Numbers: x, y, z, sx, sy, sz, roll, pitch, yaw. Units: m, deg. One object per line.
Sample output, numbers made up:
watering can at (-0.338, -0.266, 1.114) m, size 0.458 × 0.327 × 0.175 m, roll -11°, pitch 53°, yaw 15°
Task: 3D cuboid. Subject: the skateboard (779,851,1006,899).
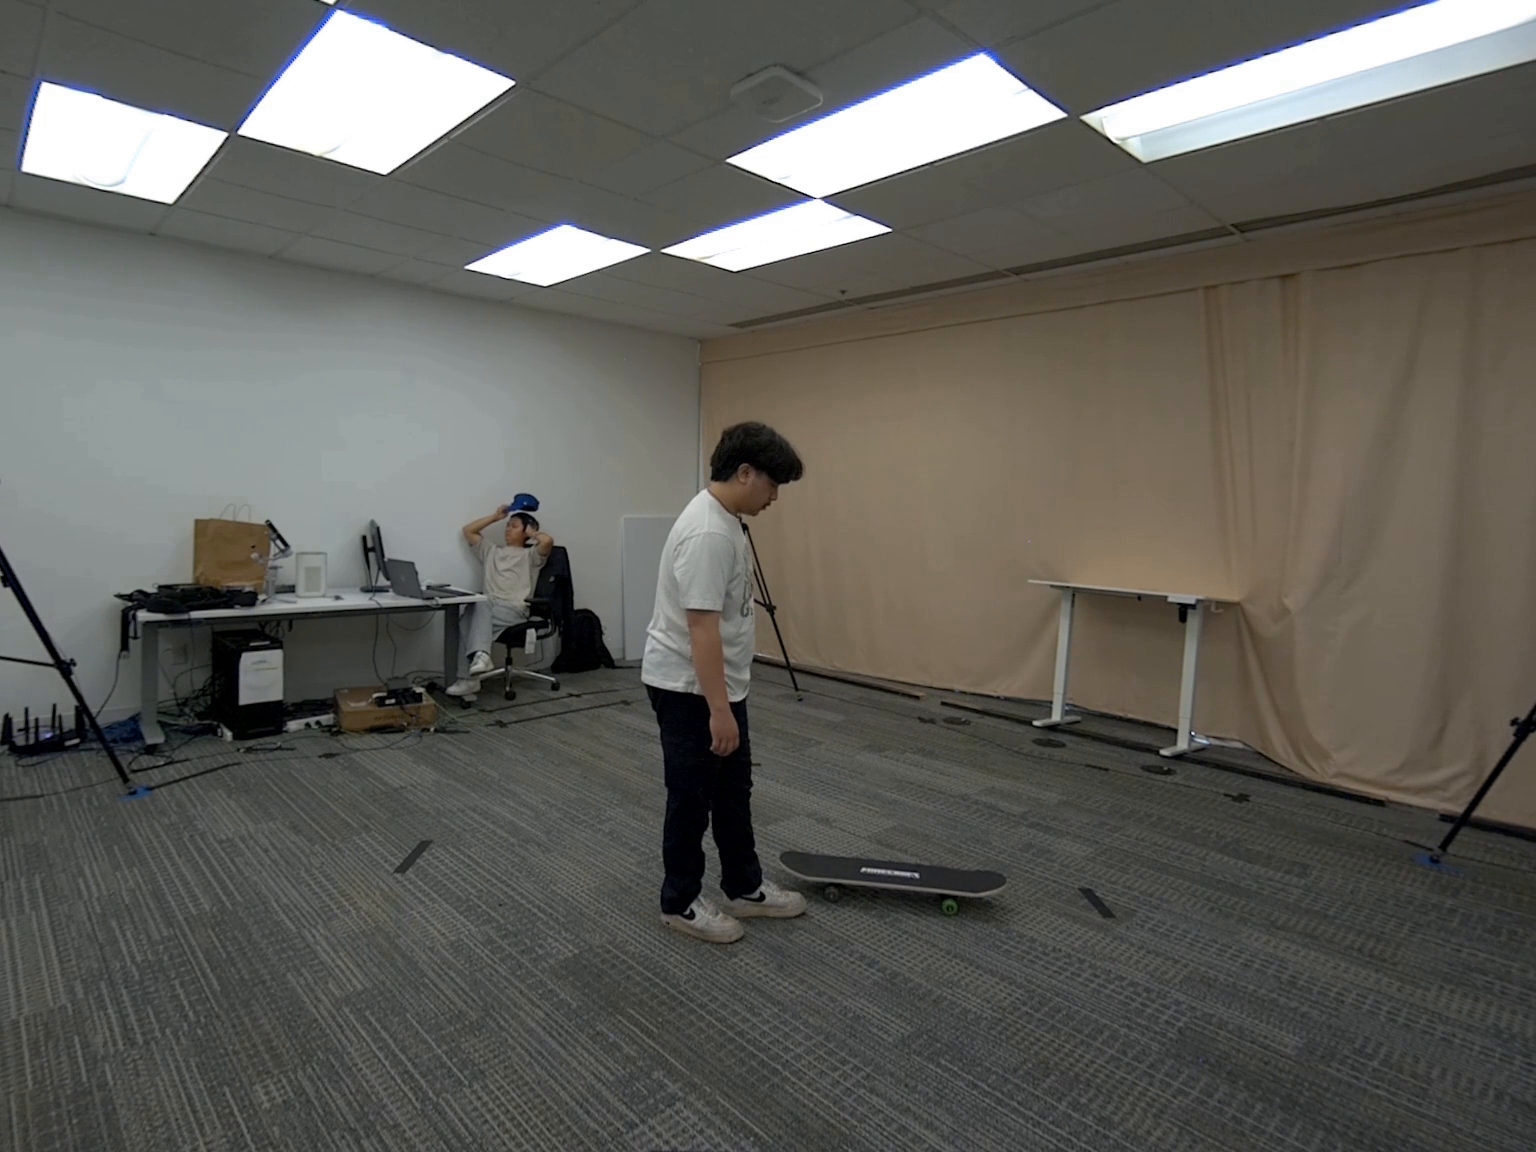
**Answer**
skateboard at (0.421, 1.078, 2.964) m, size 0.792 × 0.110 × 0.192 m, roll 2°, pitch 5°, yaw 10°
